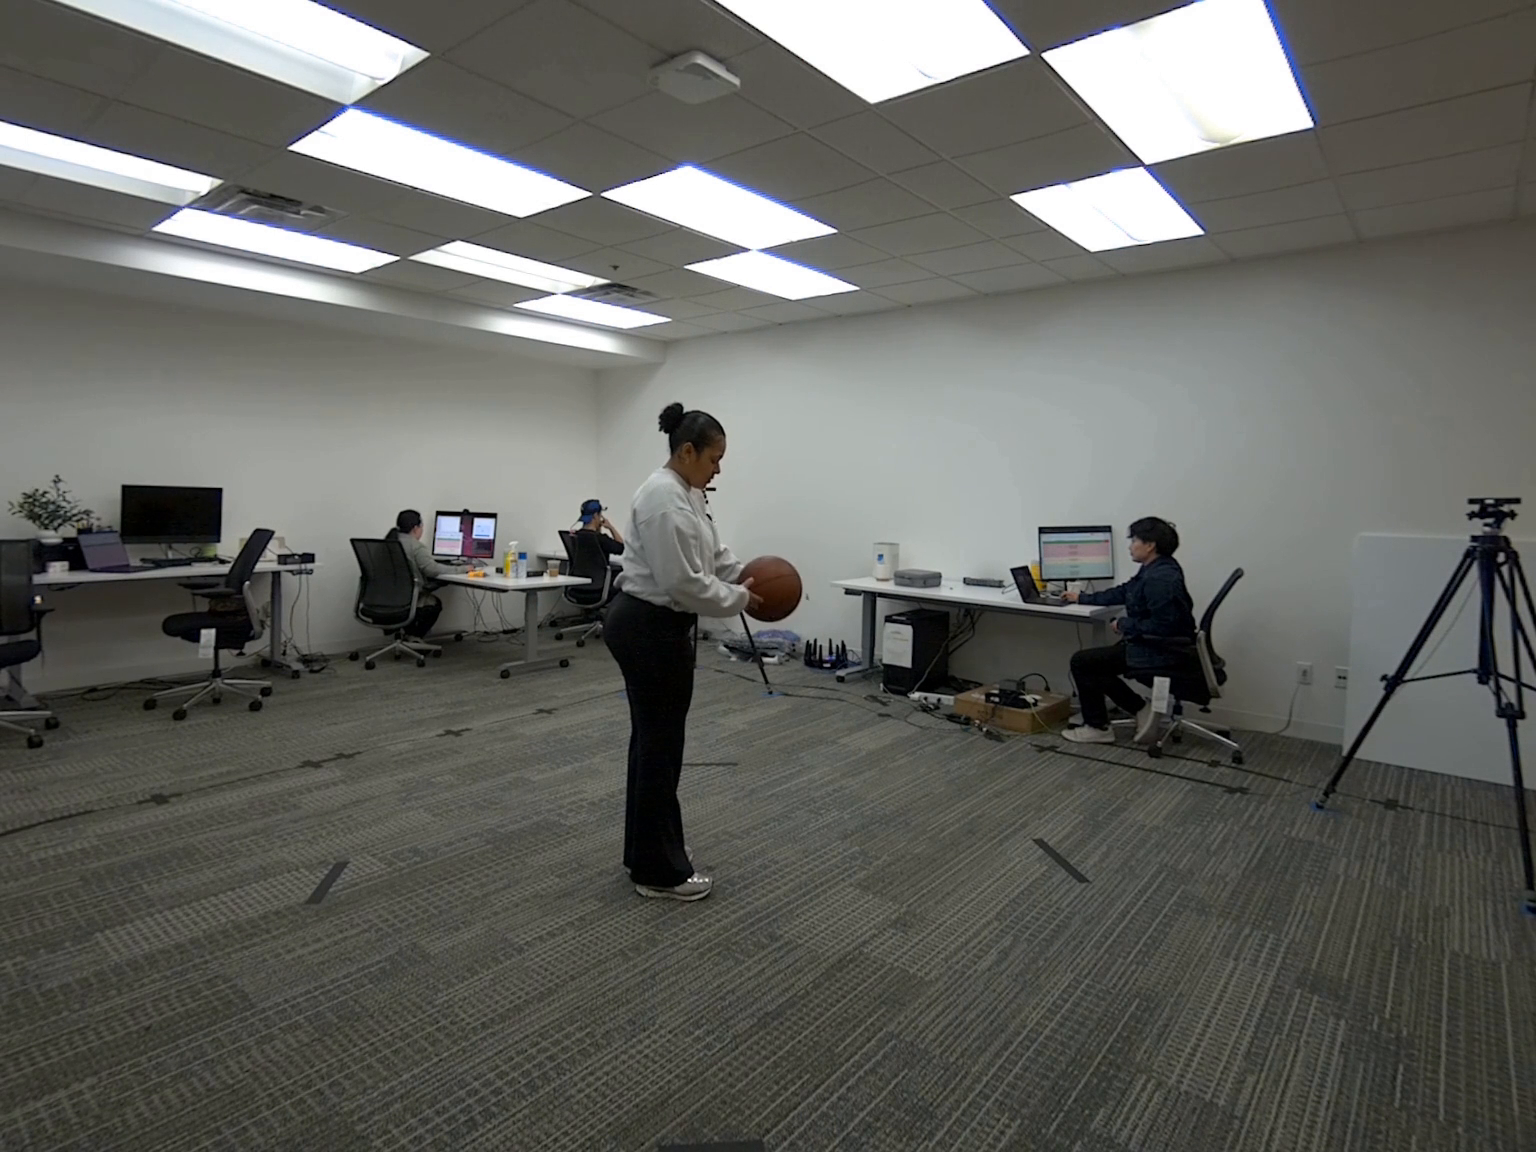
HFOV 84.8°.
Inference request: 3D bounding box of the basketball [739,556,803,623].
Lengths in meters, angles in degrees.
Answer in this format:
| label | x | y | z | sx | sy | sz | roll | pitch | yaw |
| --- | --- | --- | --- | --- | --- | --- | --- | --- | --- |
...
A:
| label | x | y | z | sx | sy | sz | roll | pitch | yaw |
| --- | --- | --- | --- | --- | --- | --- | --- | --- | --- |
| basketball | -0.025 | 0.047 | 3.049 | 0.235 | 0.235 | 0.237 | 1 | 4 | -2 |
